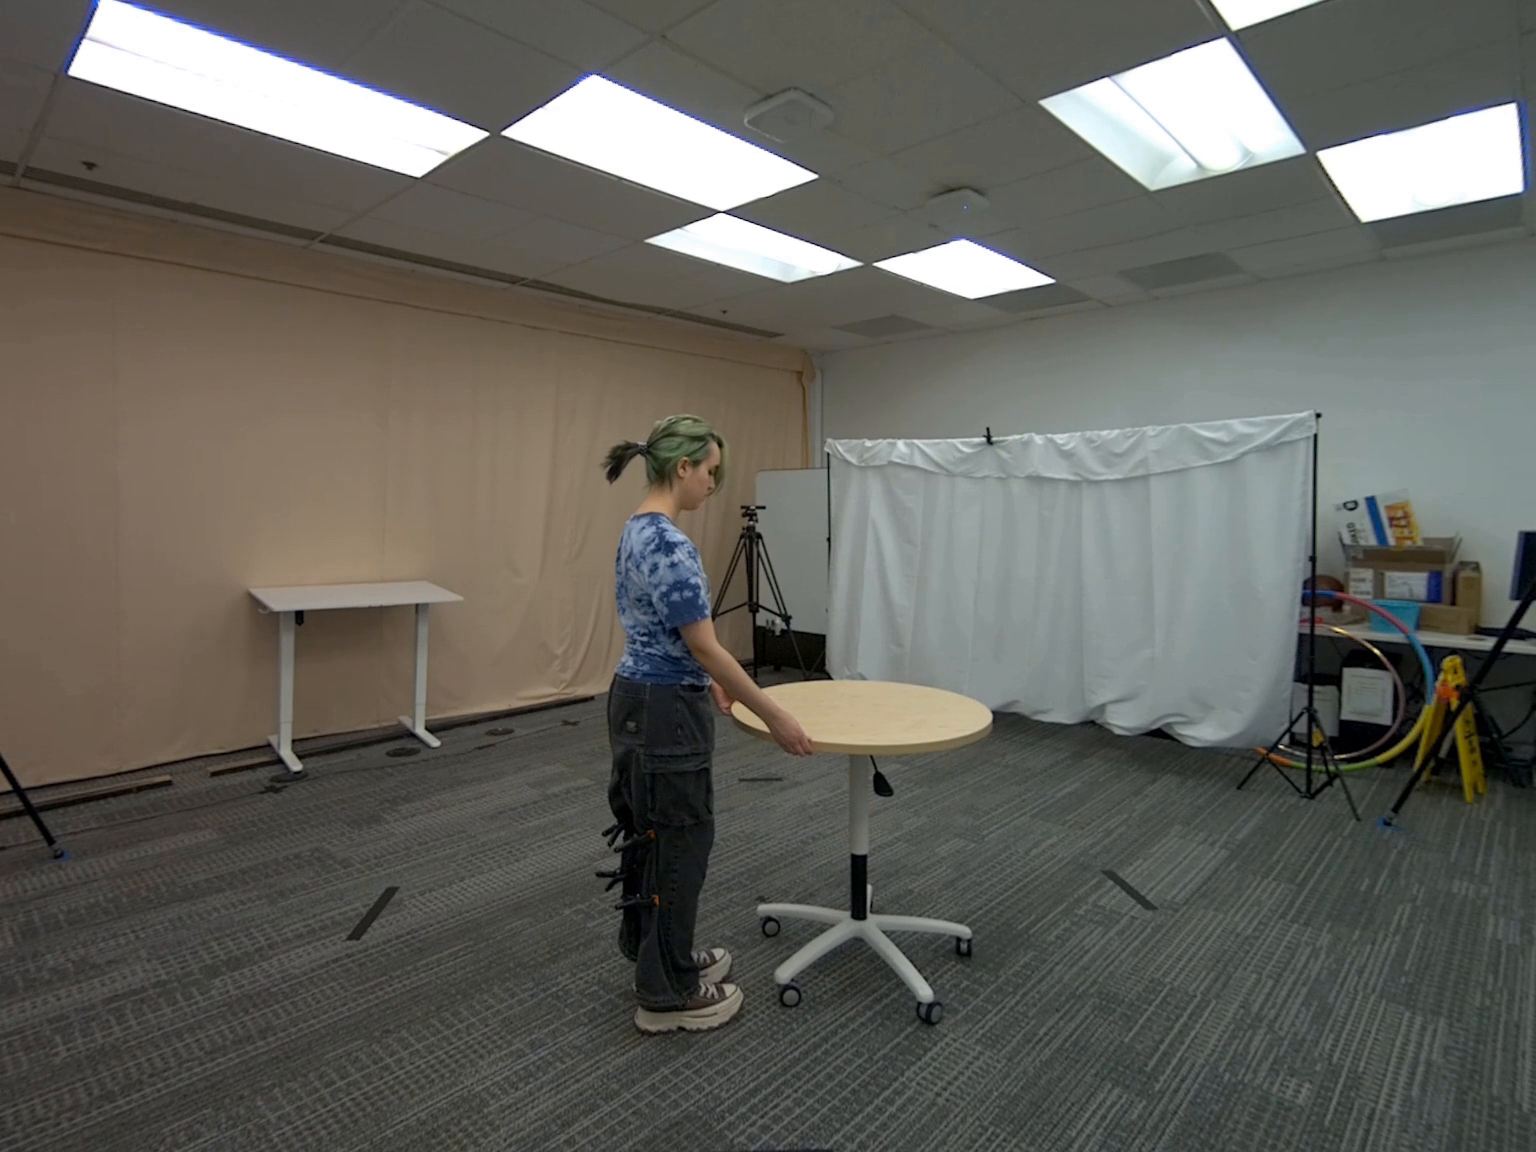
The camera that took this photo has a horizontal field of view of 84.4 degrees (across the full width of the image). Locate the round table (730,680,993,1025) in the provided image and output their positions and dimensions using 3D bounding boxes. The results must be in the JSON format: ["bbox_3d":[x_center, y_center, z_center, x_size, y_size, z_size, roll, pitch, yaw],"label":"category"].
[{"bbox_3d":[0.283,0.789,2.556,0.763,0.792,0.767,0,4,-2],"label":"round table"}]
